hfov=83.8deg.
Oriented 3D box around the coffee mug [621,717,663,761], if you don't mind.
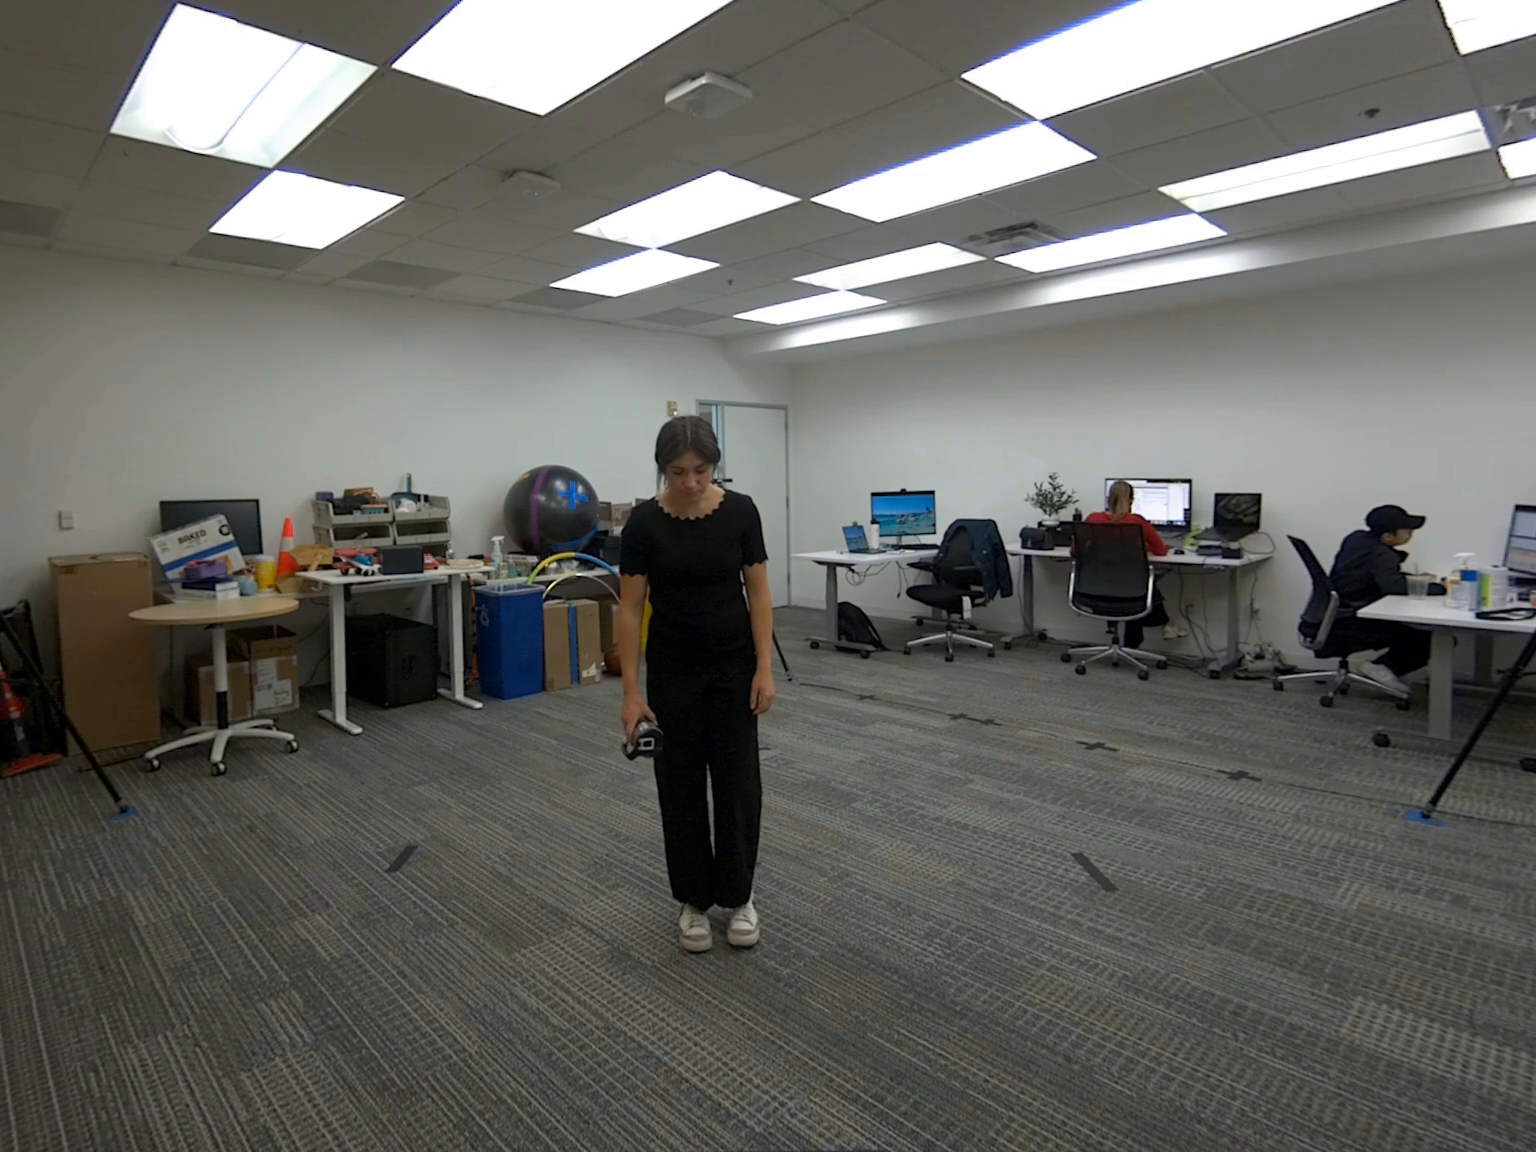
[{"bbox_3d":[-0.391,0.461,2.518,0.121,0.086,0.208,-21,19,-16],"label":"coffee mug"}]
